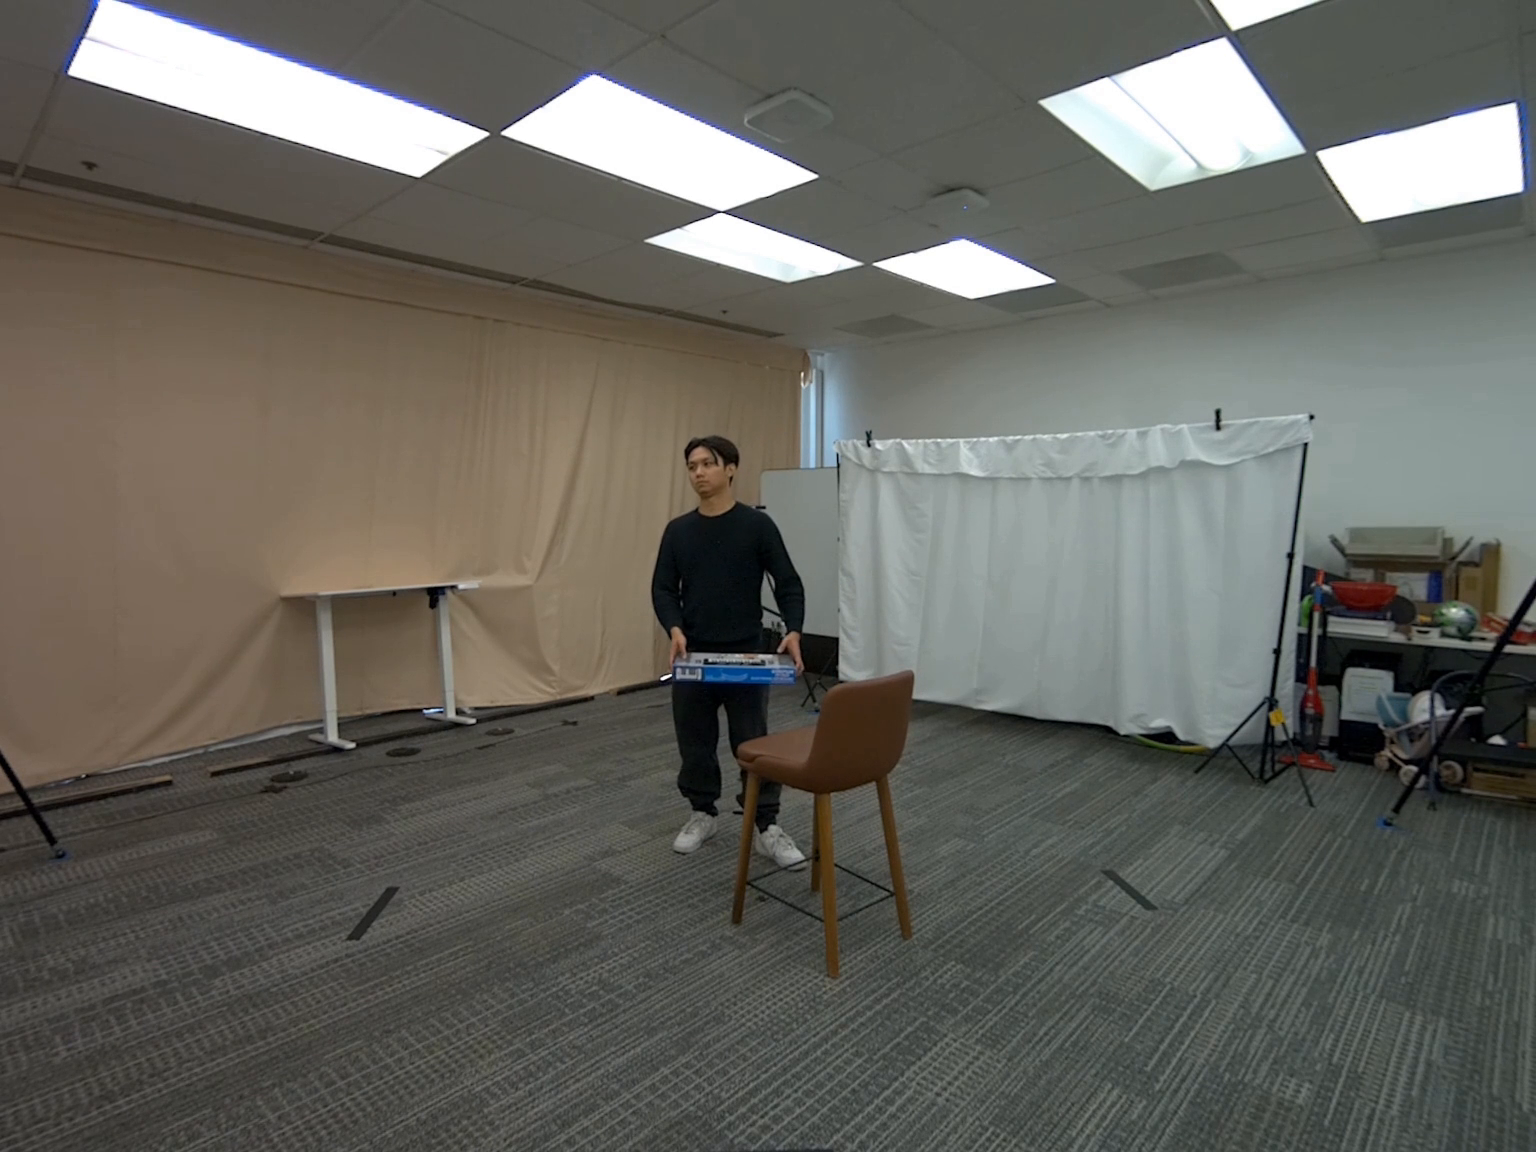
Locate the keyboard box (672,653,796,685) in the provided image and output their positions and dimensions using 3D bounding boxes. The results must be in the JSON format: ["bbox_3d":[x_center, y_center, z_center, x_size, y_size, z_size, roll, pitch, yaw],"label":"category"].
[{"bbox_3d":[-0.125,0.334,3.102,0.438,0.059,0.176,2,10,1],"label":"keyboard box"}]
